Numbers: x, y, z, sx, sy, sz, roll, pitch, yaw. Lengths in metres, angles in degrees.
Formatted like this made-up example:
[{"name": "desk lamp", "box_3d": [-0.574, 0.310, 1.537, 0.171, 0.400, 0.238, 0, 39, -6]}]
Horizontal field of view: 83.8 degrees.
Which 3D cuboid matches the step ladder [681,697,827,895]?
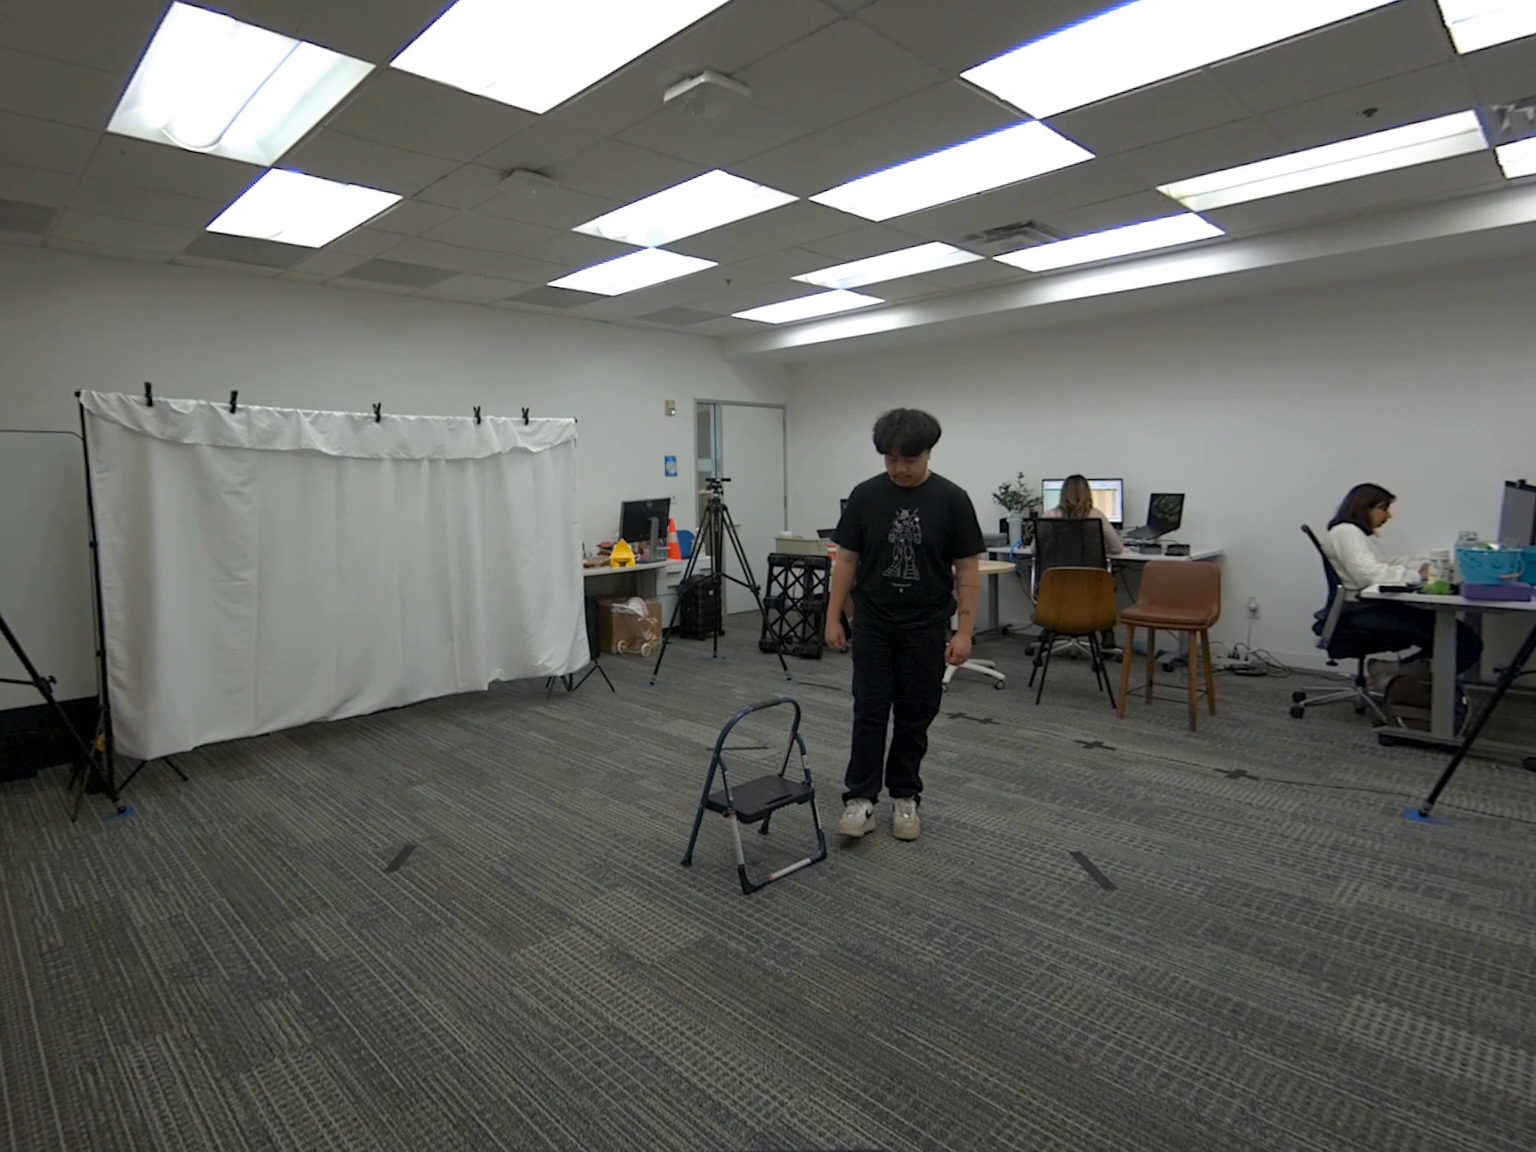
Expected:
[{"name": "step ladder", "box_3d": [-0.050, 0.737, 3.104, 0.419, 0.604, 0.360, -5, 6, -44]}]
